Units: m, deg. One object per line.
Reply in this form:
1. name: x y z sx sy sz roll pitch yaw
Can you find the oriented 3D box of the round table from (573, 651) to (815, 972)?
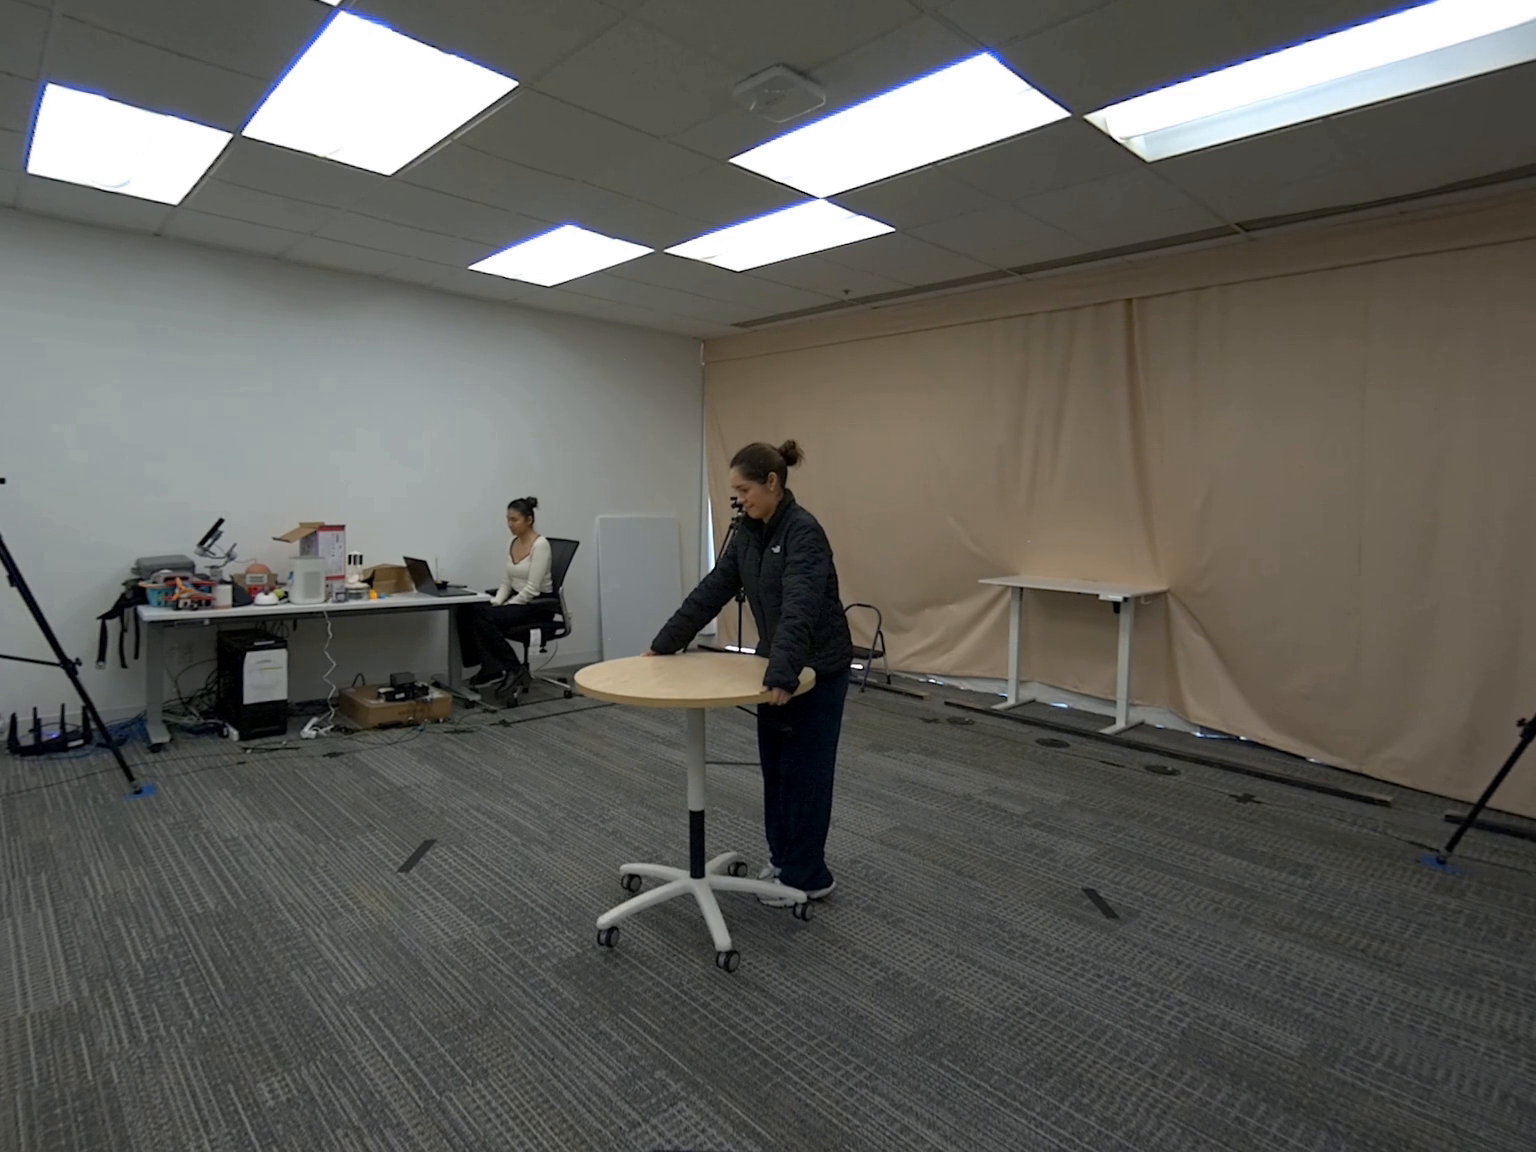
1. round table: -0.223 0.713 2.699 0.785 0.785 0.787 -1 3 -1
